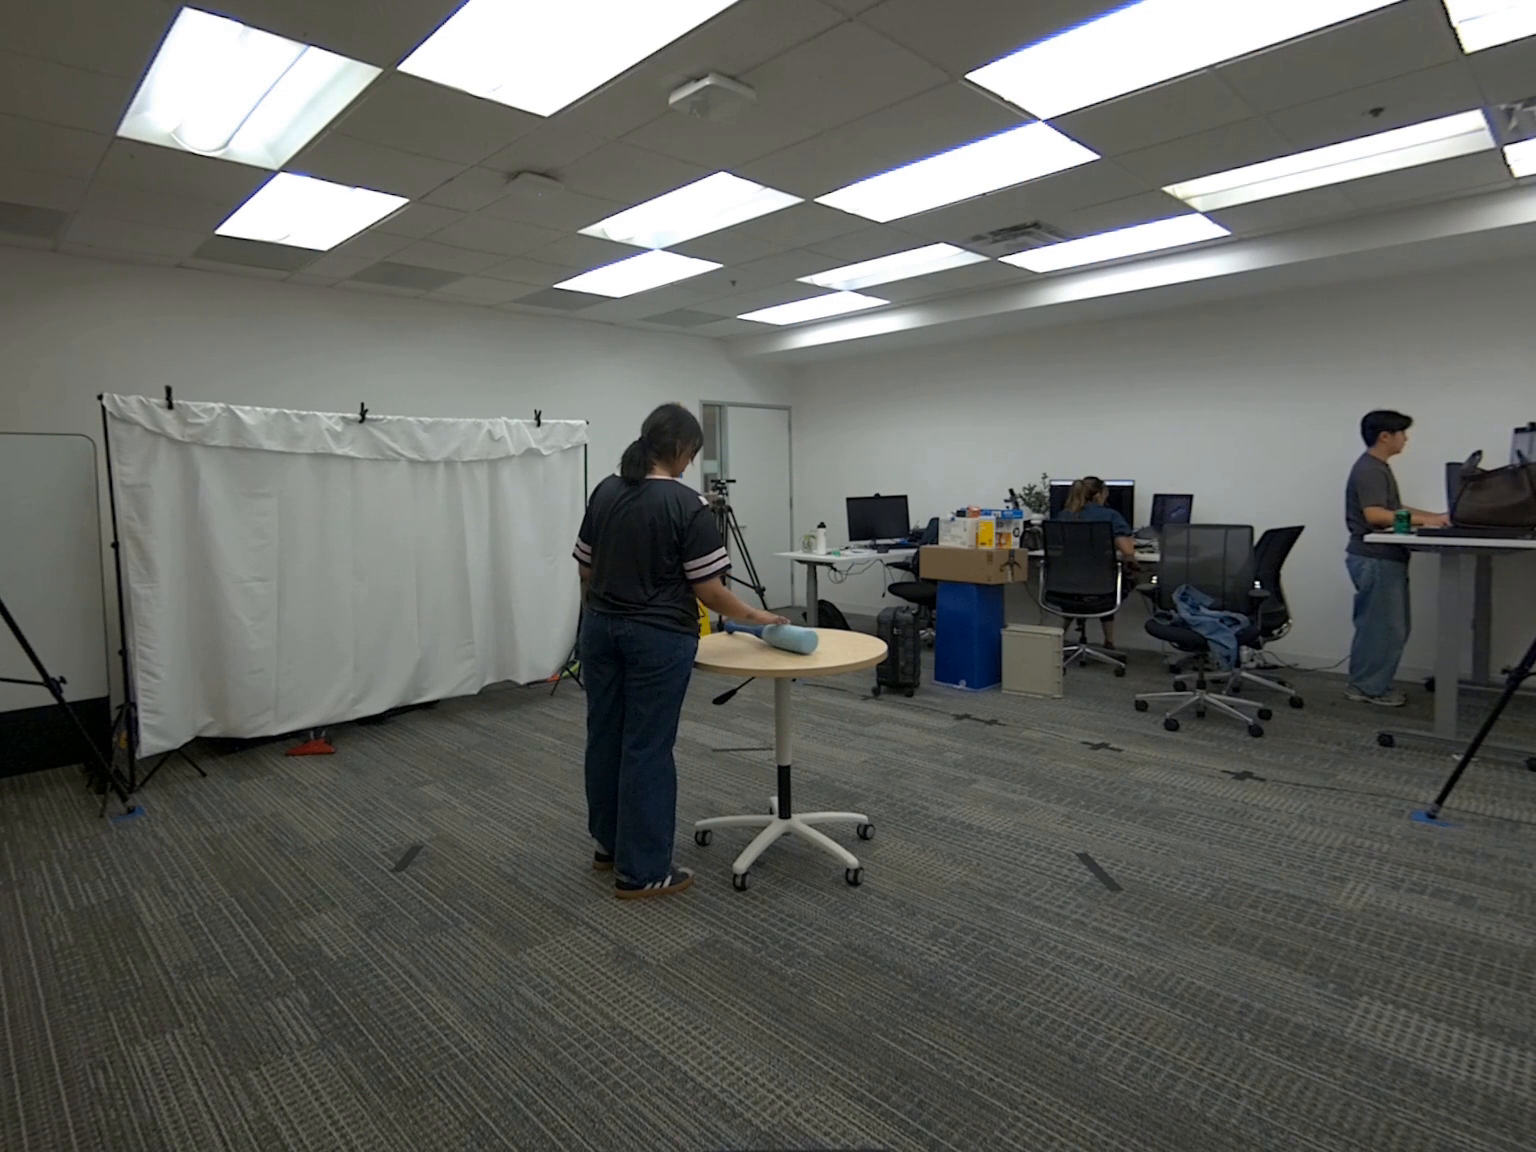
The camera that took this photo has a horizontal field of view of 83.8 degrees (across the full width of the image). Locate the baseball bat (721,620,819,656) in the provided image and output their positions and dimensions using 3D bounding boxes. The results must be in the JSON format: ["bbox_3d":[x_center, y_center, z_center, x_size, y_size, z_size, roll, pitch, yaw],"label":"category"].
[{"bbox_3d":[-0.007,0.218,3.190,0.087,0.089,0.557,-4,4,-32],"label":"baseball bat"}]
